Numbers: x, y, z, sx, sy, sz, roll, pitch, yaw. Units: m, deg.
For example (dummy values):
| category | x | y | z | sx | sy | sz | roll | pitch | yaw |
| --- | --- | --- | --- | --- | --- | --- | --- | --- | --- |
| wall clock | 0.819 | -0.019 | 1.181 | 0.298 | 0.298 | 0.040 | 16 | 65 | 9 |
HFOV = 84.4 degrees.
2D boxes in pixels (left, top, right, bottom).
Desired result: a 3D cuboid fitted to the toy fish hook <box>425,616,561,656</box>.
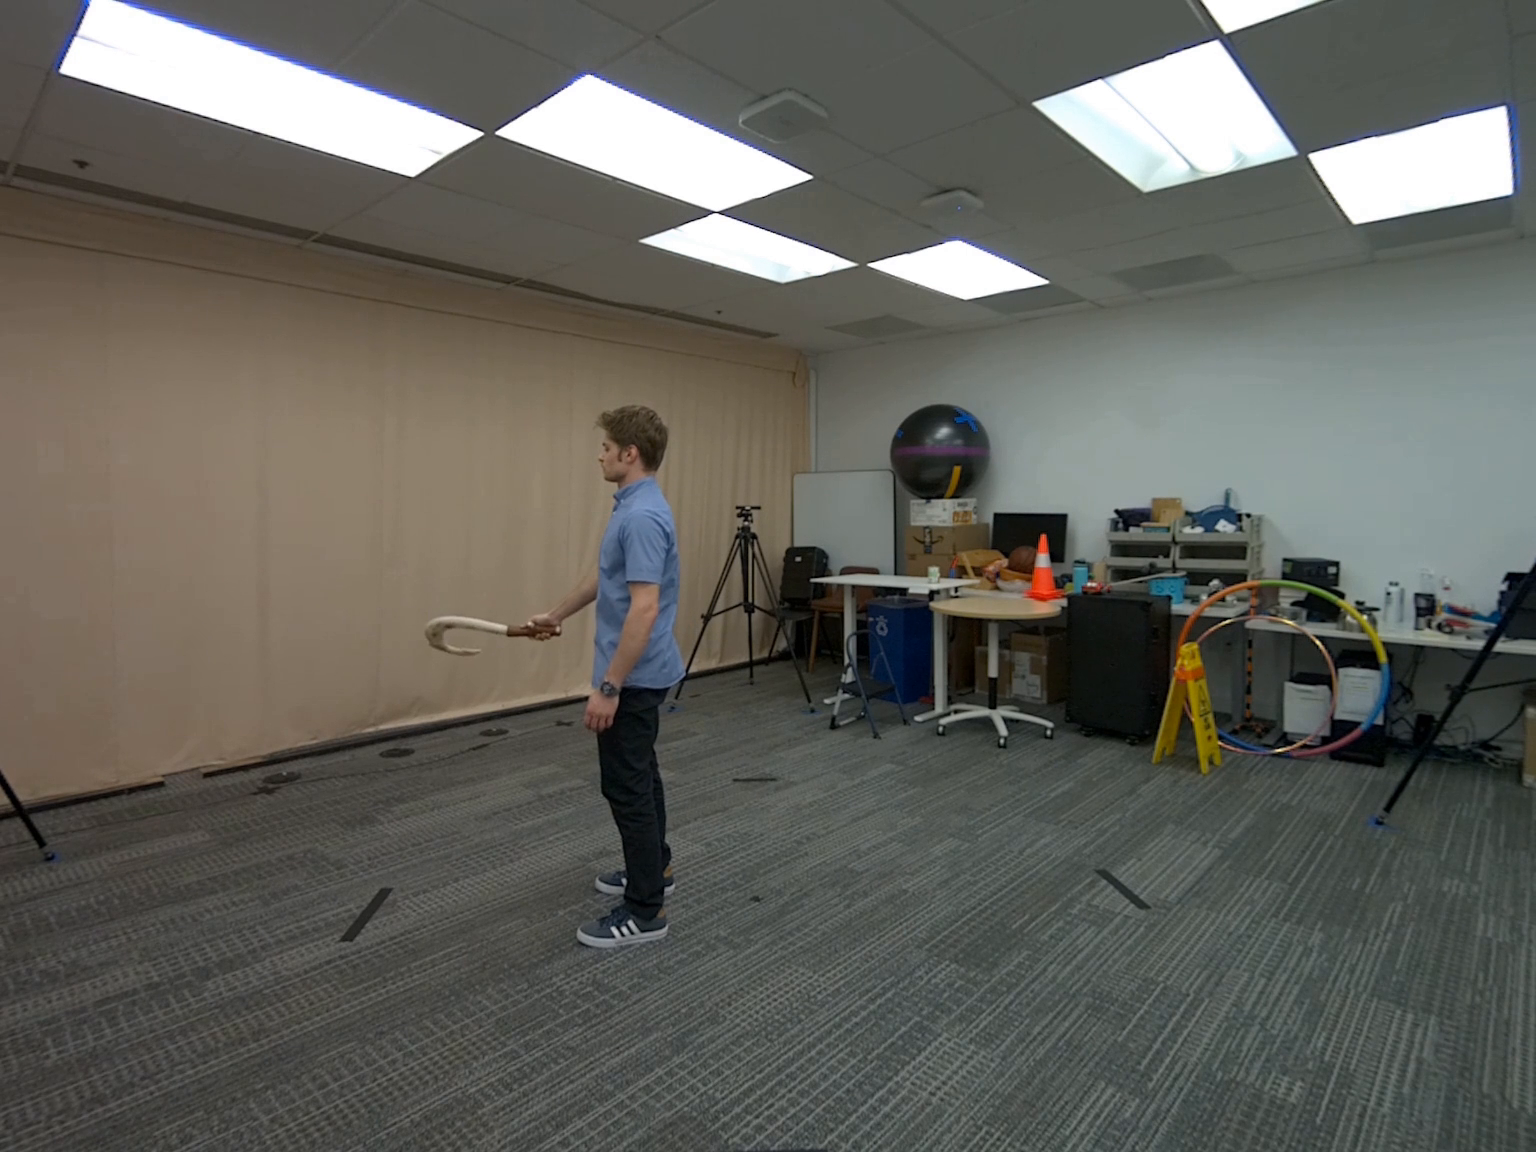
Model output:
| category | x | y | z | sx | sy | sz | roll | pitch | yaw |
| --- | --- | --- | --- | --- | --- | --- | --- | --- | --- |
| toy fish hook | -1.028 | 0.229 | 3.161 | 0.504 | 0.049 | 0.222 | 5 | -40 | -4 |
